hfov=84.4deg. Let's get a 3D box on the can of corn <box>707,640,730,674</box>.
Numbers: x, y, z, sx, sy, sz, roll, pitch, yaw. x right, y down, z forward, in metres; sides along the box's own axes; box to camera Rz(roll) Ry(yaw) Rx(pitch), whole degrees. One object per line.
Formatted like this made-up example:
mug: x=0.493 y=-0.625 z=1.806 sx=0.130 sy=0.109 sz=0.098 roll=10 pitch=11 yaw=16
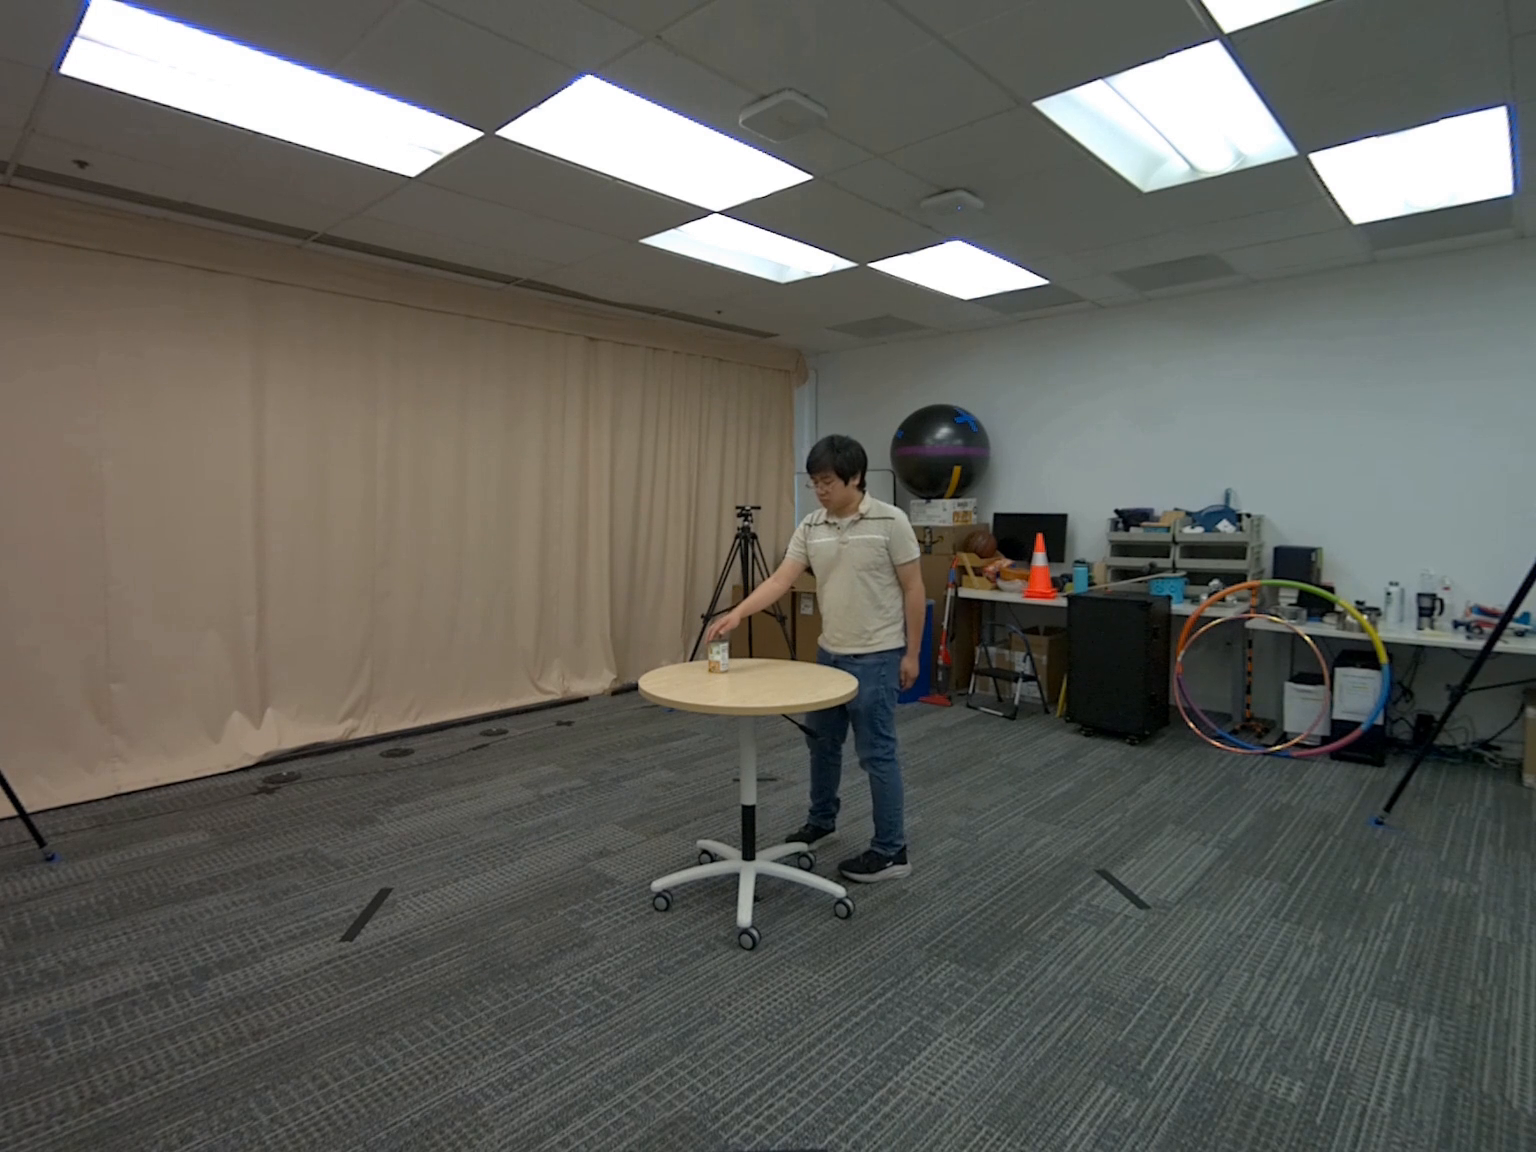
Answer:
can of corn: x=-0.177 y=0.297 z=3.096 sx=0.074 sy=0.111 sz=0.074 roll=1 pitch=4 yaw=-2
